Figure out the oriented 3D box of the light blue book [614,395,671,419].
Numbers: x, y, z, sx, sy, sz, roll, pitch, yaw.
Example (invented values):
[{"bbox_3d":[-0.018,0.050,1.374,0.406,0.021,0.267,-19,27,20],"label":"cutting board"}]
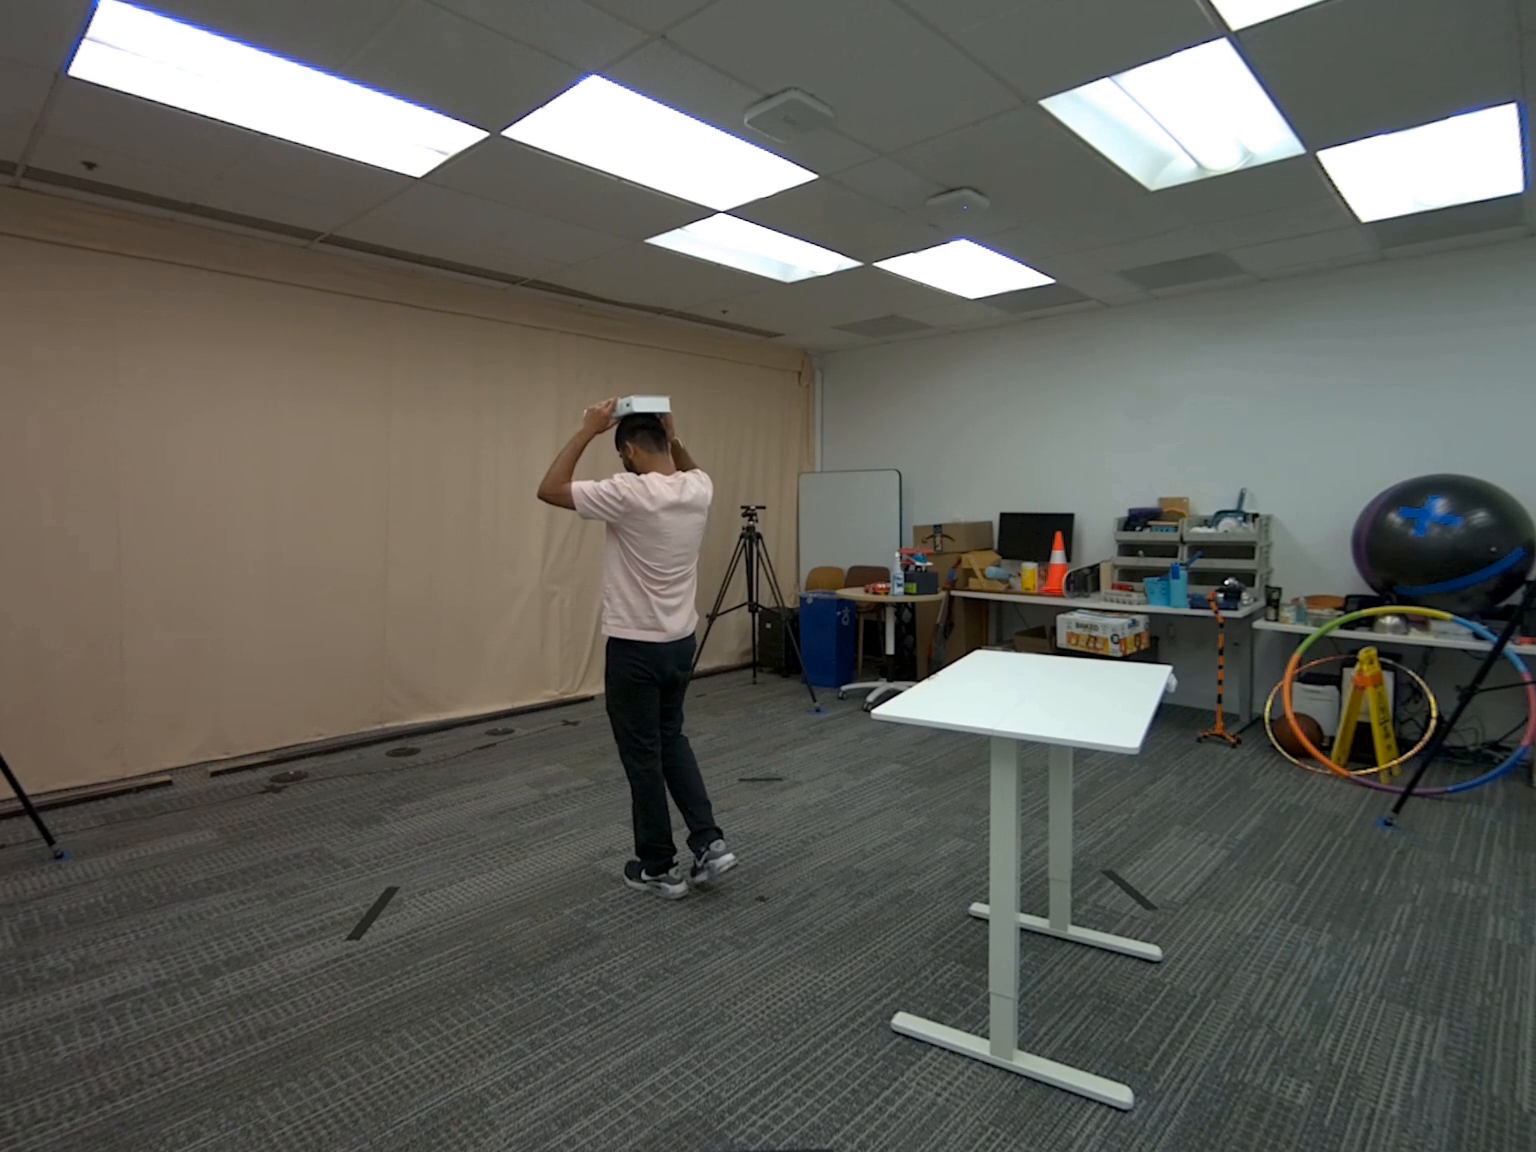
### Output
[{"bbox_3d":[-0.492,-0.585,3.016,0.269,0.059,0.186,-4,6,42],"label":"light blue book"}]
